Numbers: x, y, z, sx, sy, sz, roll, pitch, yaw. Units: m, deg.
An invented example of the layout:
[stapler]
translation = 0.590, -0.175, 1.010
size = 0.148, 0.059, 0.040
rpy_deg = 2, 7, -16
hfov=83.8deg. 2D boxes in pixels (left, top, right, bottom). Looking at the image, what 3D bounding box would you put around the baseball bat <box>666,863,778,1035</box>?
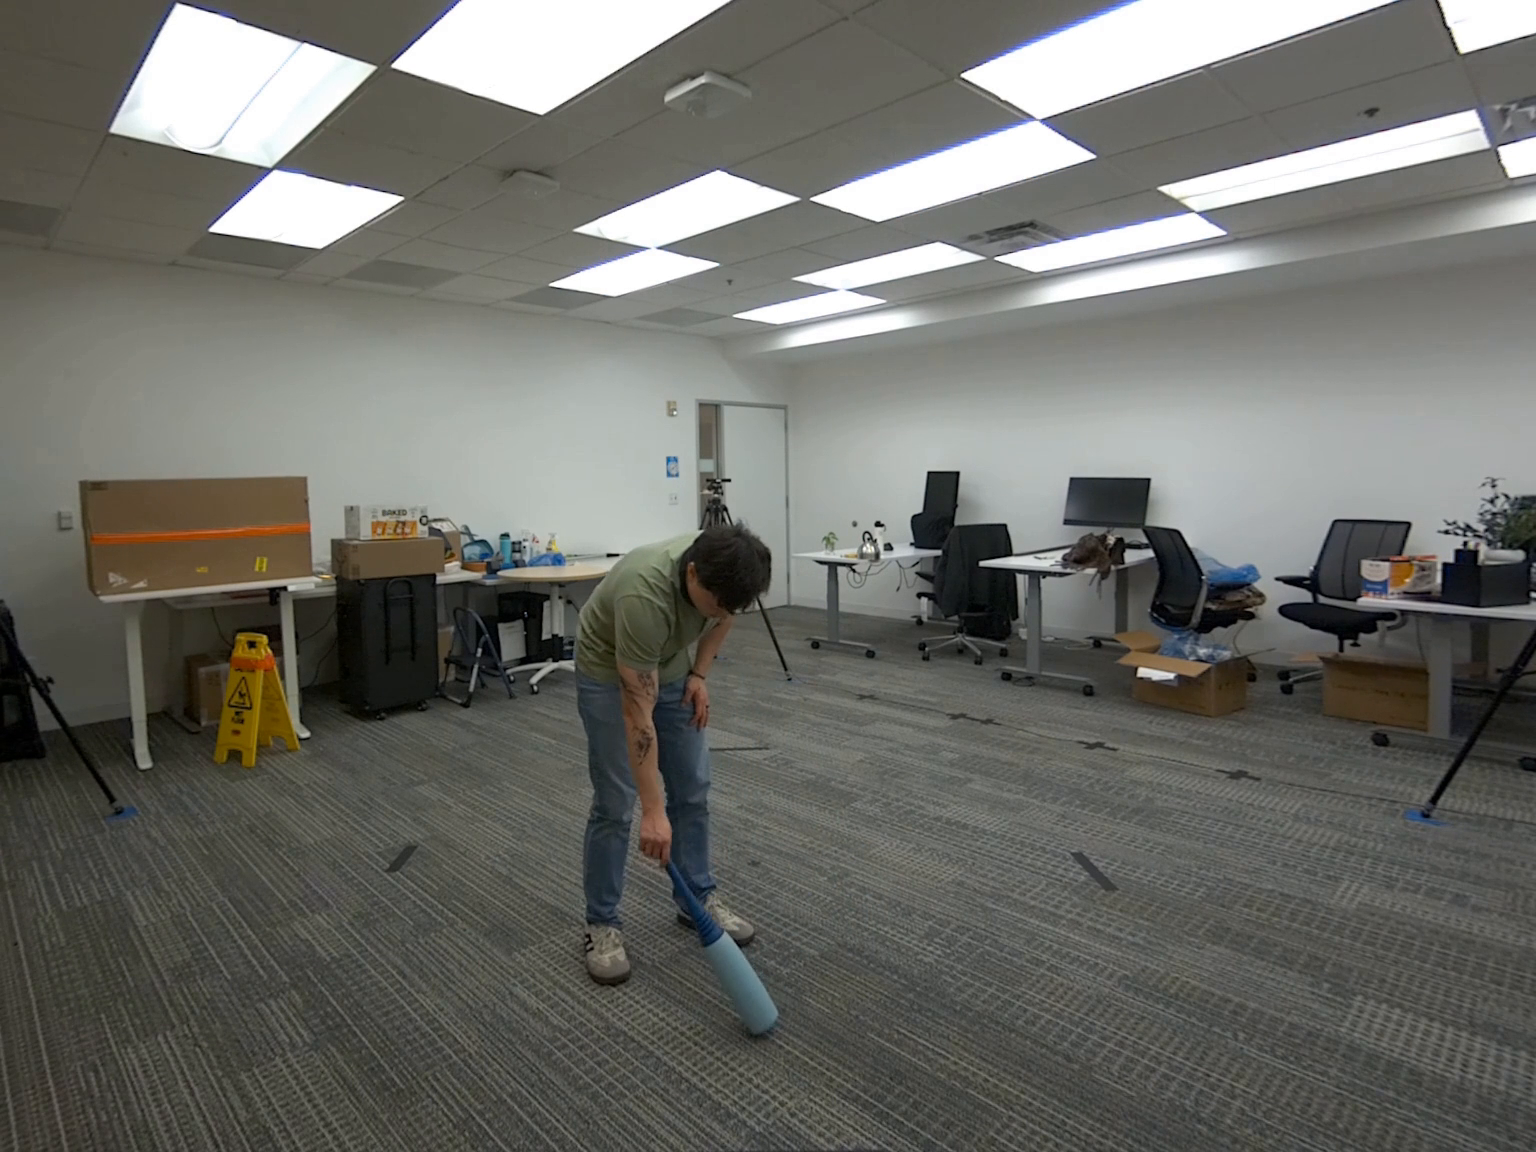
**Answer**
[baseball bat]
translation = -0.153, 0.910, 2.193
size = 0.089, 0.547, 0.088
rpy_deg = -32, -6, -5
